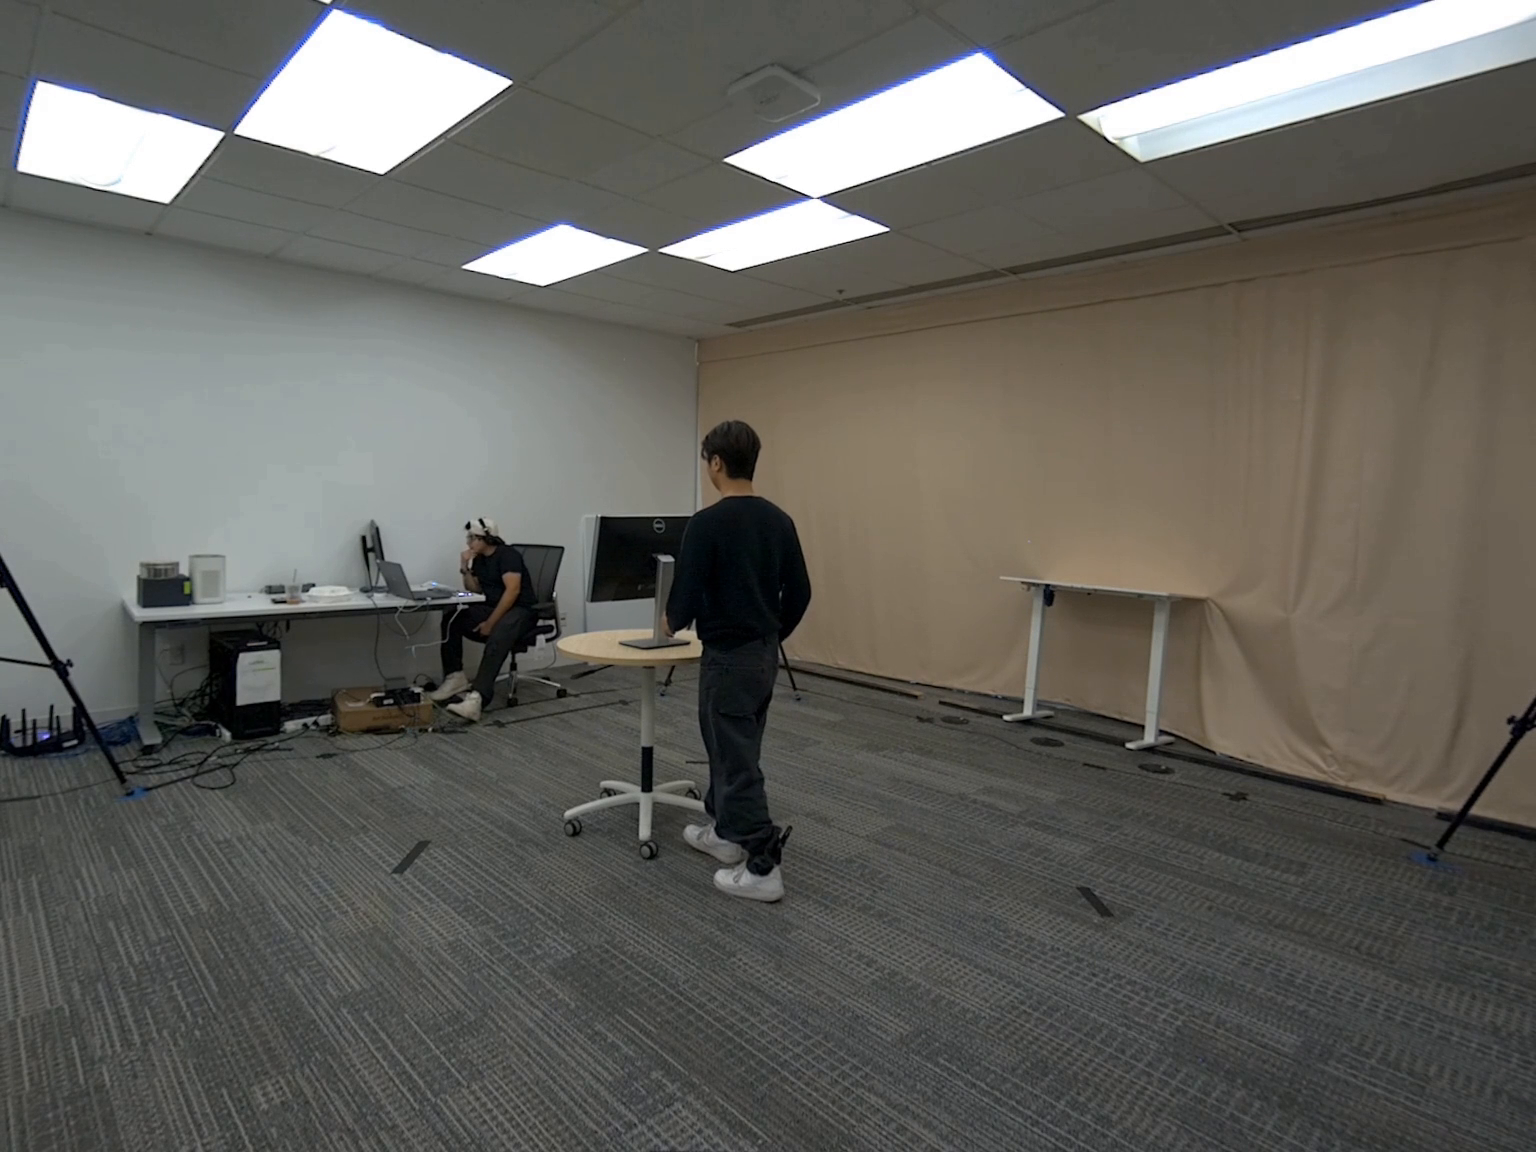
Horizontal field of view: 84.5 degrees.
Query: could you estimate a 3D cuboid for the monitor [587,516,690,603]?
[{"bbox_3d":[-0.479,0.015,3.503,0.518,0.515,0.178,-5,2,-43],"label":"monitor"}]
